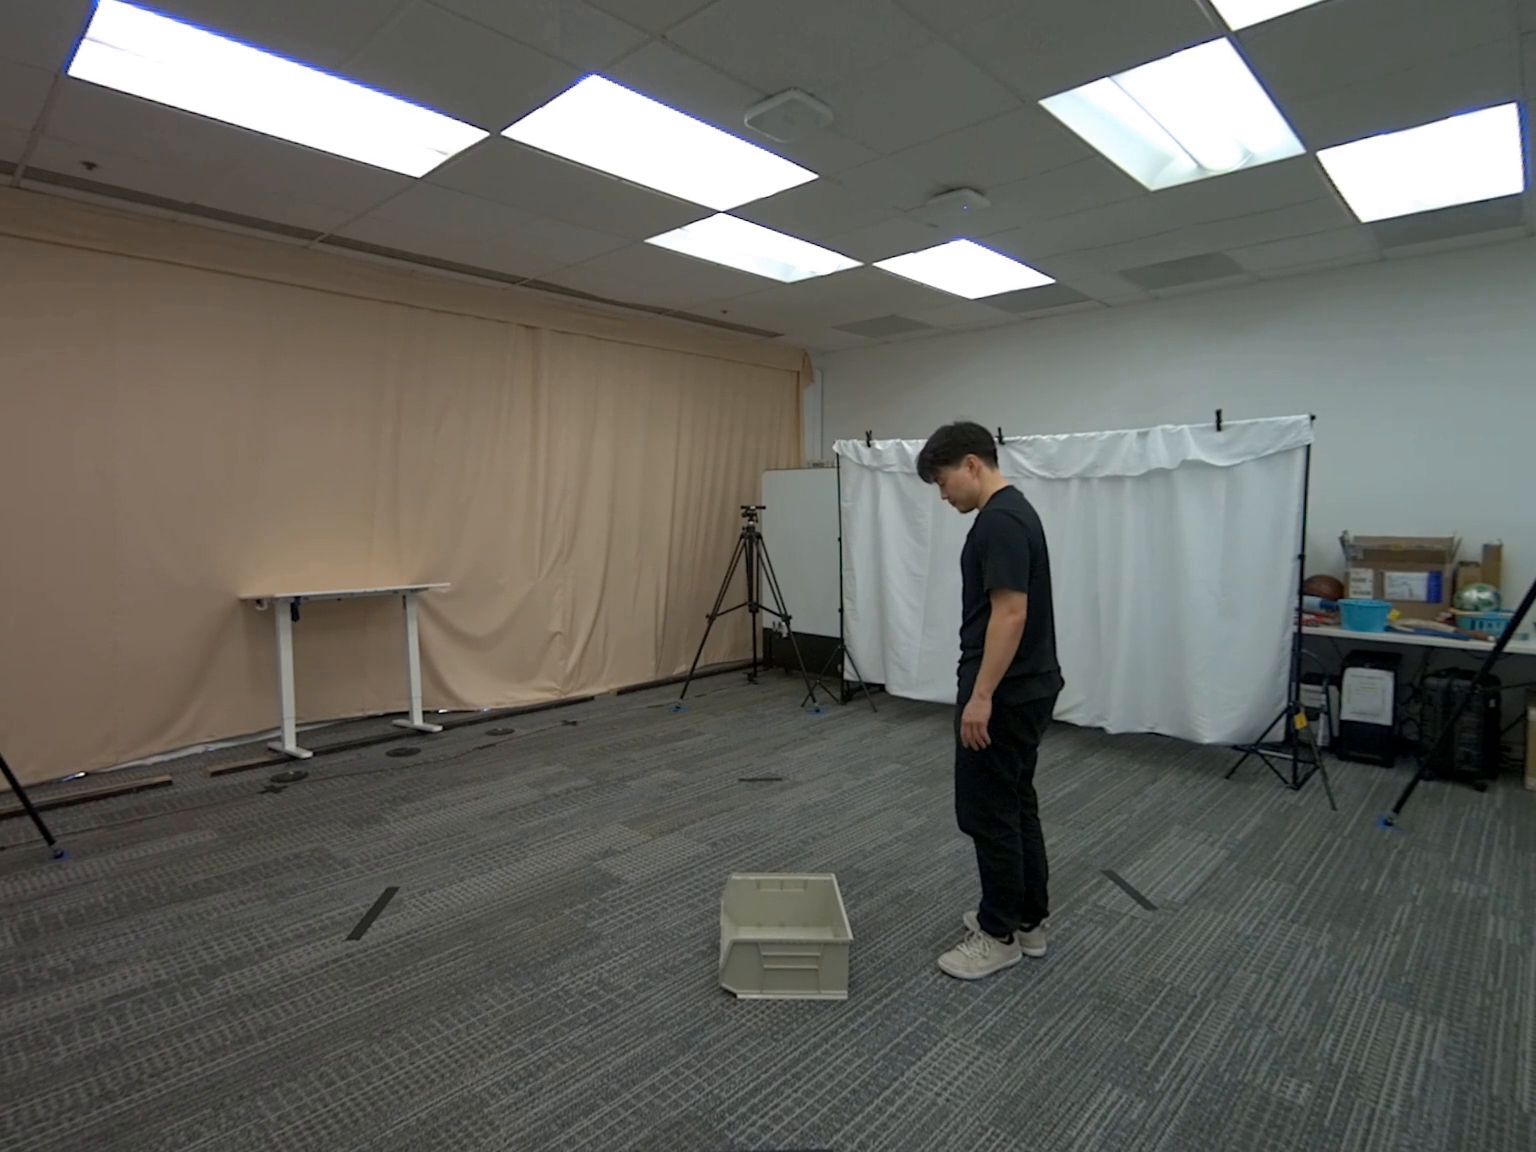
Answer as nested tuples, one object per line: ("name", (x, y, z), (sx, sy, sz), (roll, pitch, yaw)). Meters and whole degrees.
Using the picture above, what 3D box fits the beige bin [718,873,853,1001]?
("beige bin", (0.046, 1.091, 2.572), (0.377, 0.189, 0.423), (0, 3, -2))
